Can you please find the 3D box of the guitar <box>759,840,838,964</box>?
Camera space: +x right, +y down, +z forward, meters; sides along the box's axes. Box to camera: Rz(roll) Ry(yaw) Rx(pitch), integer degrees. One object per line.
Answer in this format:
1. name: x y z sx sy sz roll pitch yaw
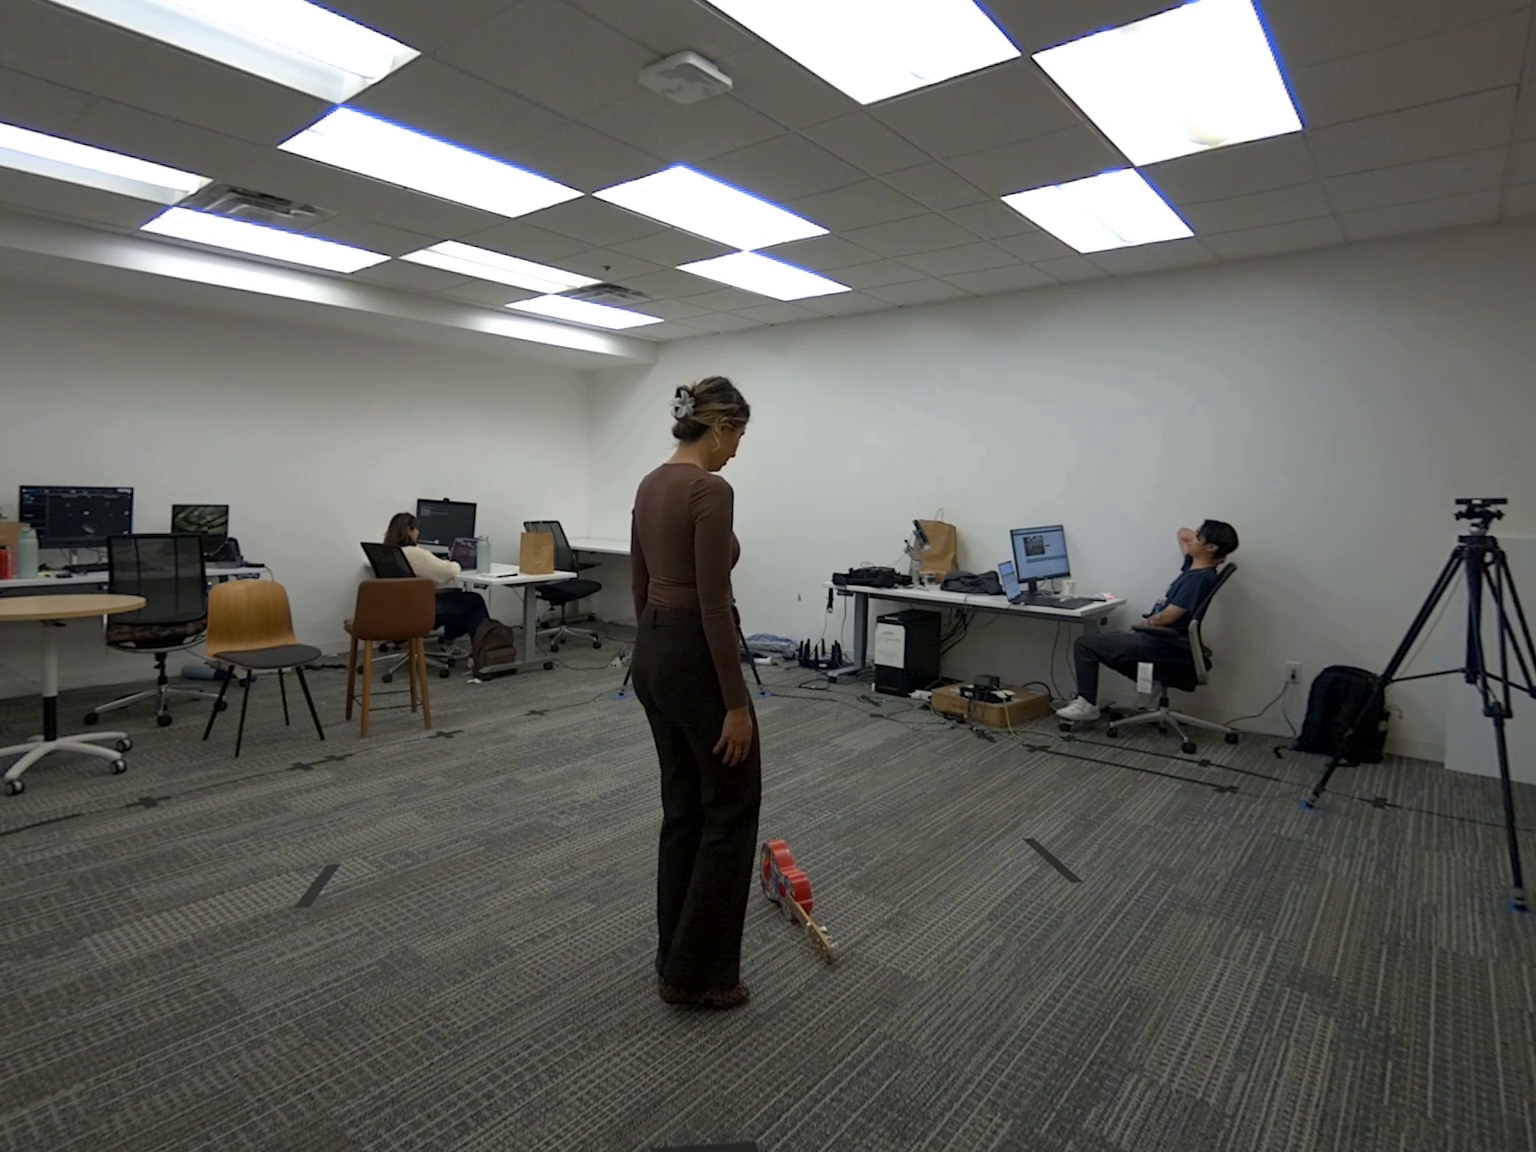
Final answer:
1. guitar: 0.090 1.070 2.737 0.069 0.190 0.517 -4 25 -24
